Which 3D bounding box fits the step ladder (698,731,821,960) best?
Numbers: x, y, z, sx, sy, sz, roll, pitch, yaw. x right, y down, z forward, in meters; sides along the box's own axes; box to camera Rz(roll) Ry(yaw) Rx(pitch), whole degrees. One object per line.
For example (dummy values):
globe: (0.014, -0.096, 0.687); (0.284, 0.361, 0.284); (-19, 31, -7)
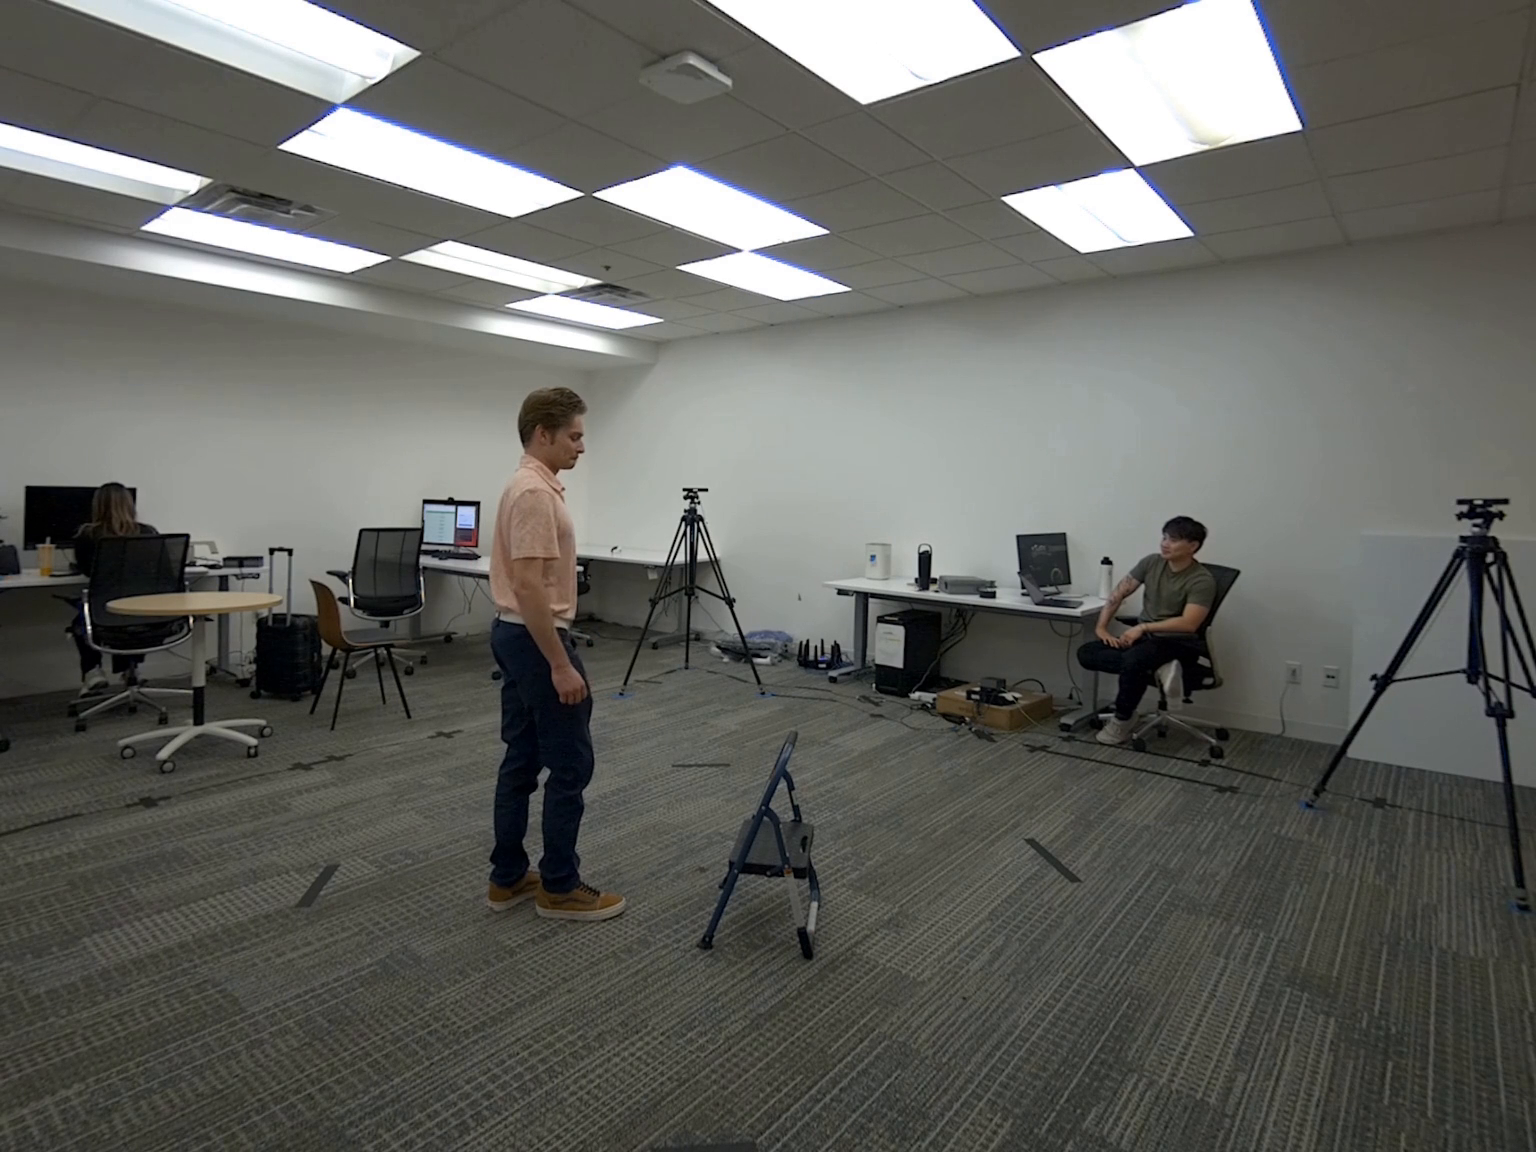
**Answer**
step ladder: (-0.011, 0.810, 2.727); (0.353, 0.604, 0.428); (2, 4, 8)
